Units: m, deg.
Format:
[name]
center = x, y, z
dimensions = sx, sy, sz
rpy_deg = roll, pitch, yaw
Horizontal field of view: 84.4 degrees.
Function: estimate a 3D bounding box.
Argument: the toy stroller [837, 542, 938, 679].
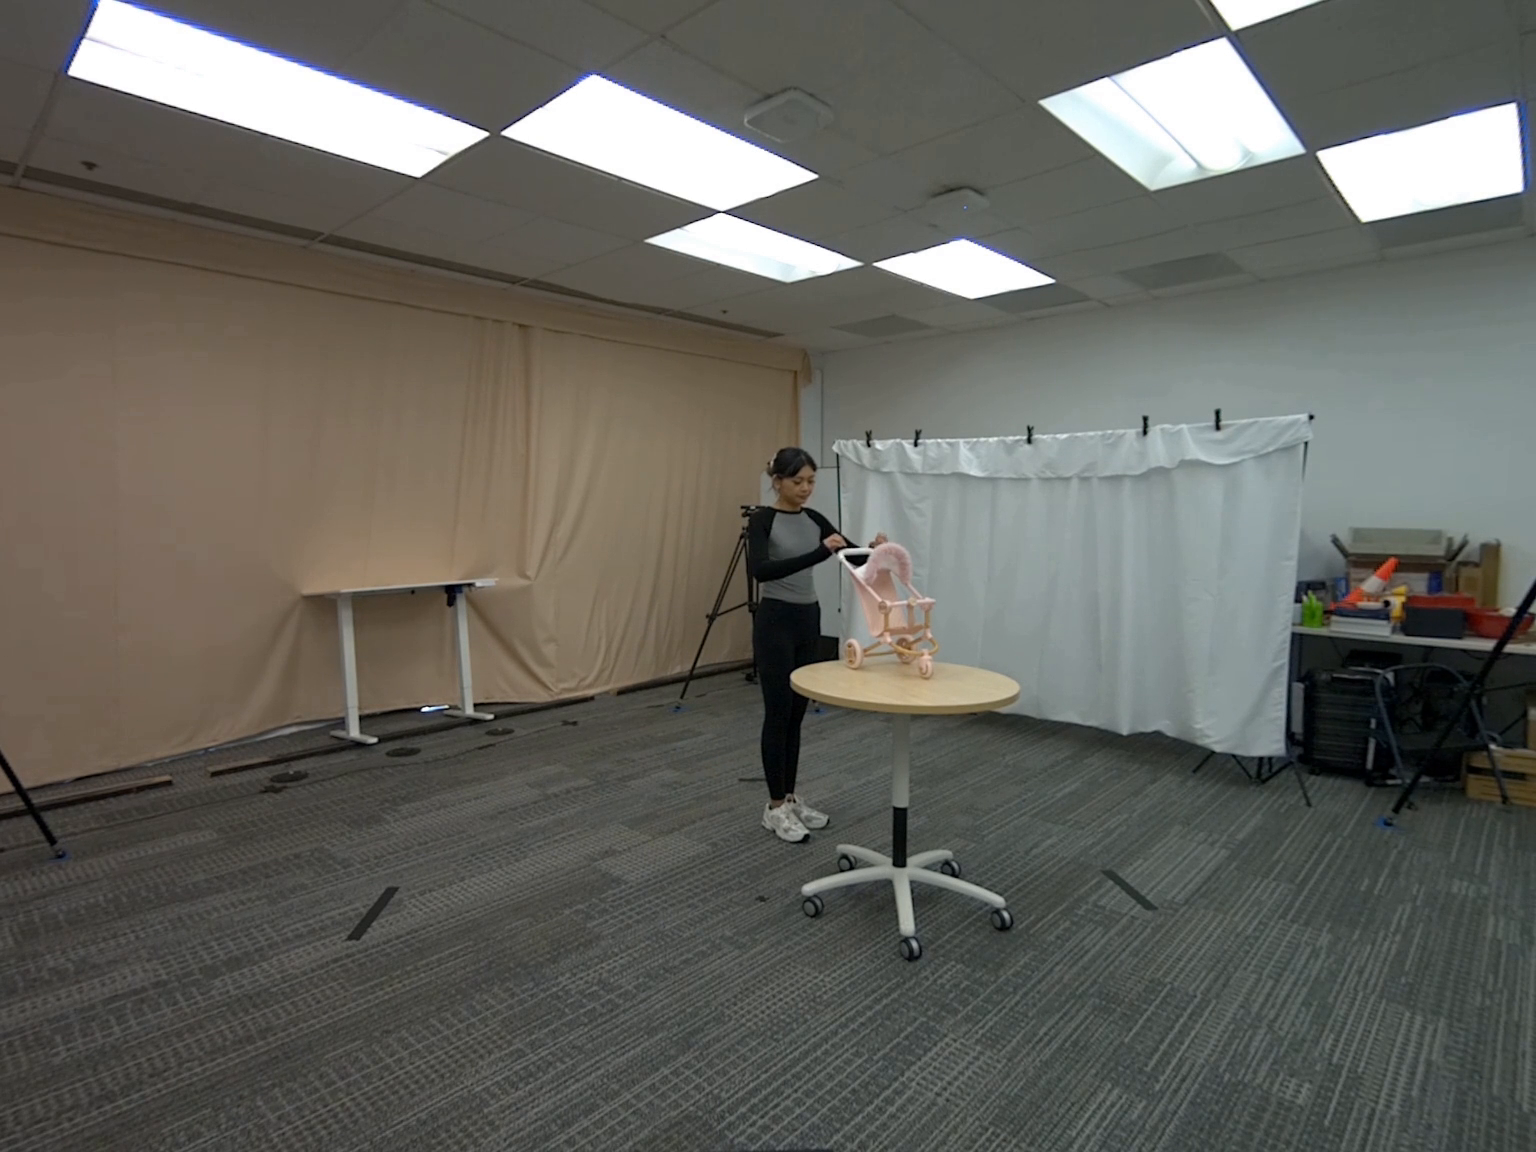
[toy stroller]
center = 0.453, 0.120, 3.067
dimensions = 0.275, 0.539, 0.347
rpy_deg = -2, -11, -26
